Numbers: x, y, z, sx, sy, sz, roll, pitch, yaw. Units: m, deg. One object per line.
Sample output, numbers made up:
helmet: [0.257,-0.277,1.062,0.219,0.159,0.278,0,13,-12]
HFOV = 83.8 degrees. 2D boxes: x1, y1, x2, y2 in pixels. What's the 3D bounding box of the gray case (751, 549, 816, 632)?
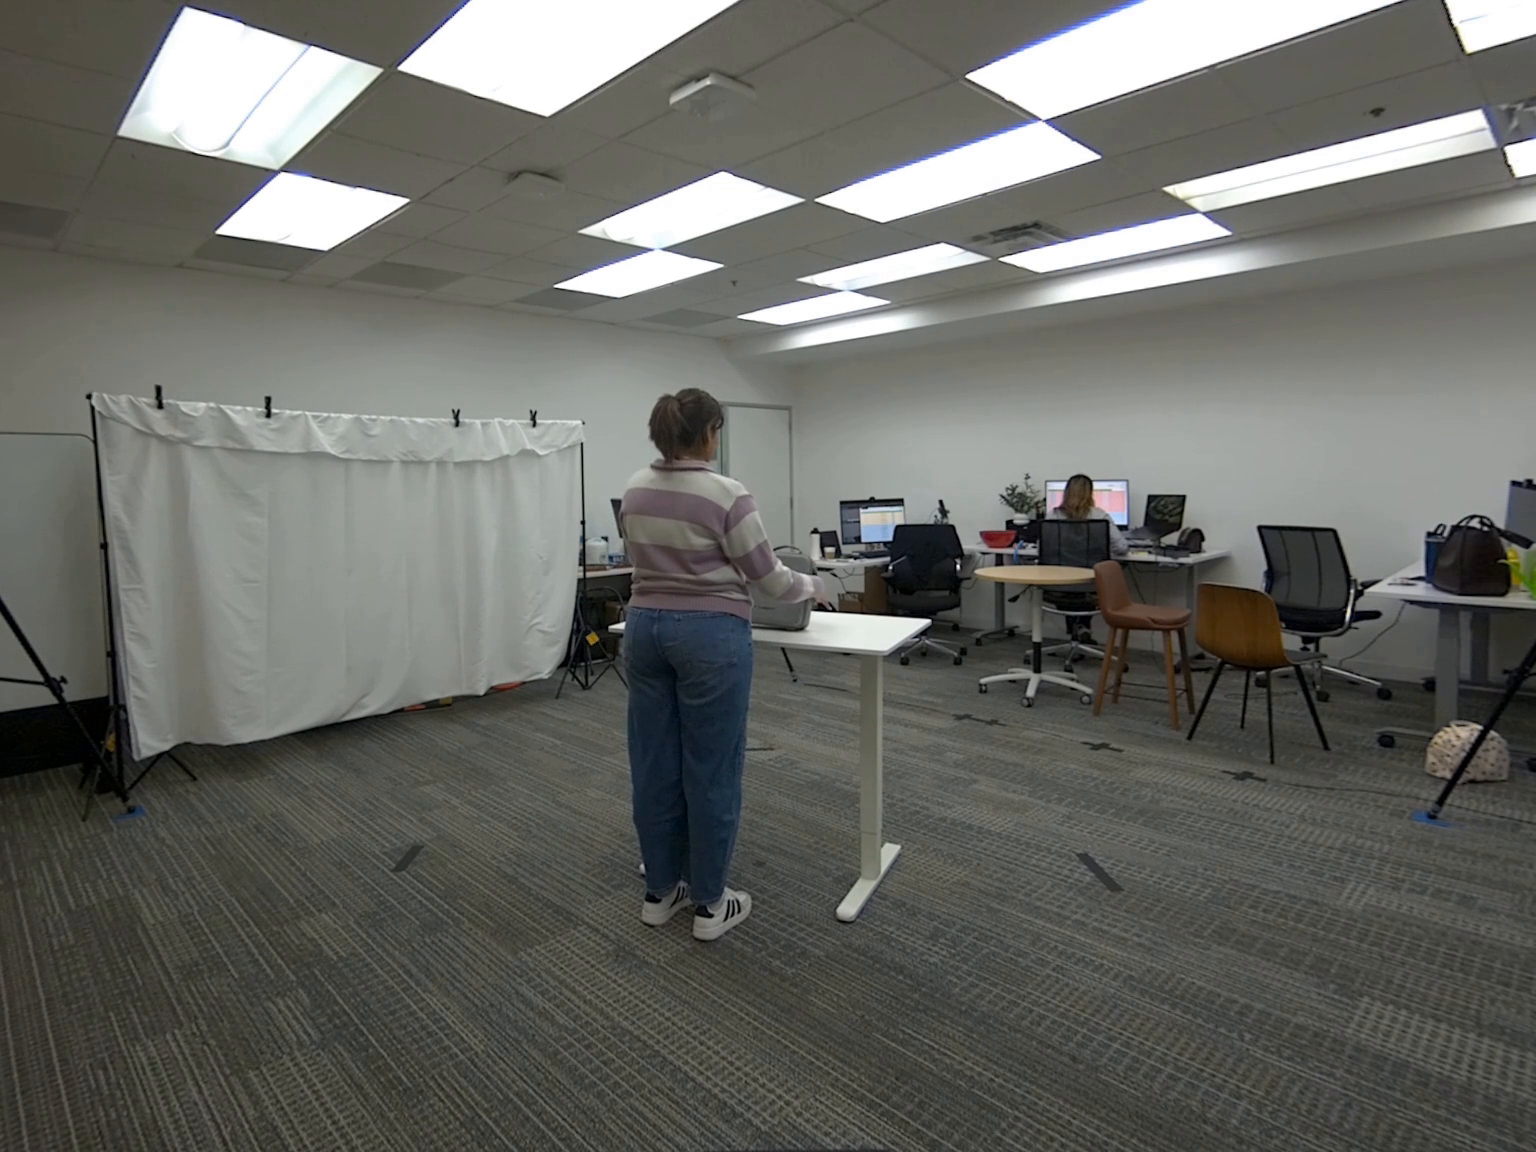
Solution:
gray case: [0.032,0.045,2.968,0.263,0.262,0.101,5,-10,27]
